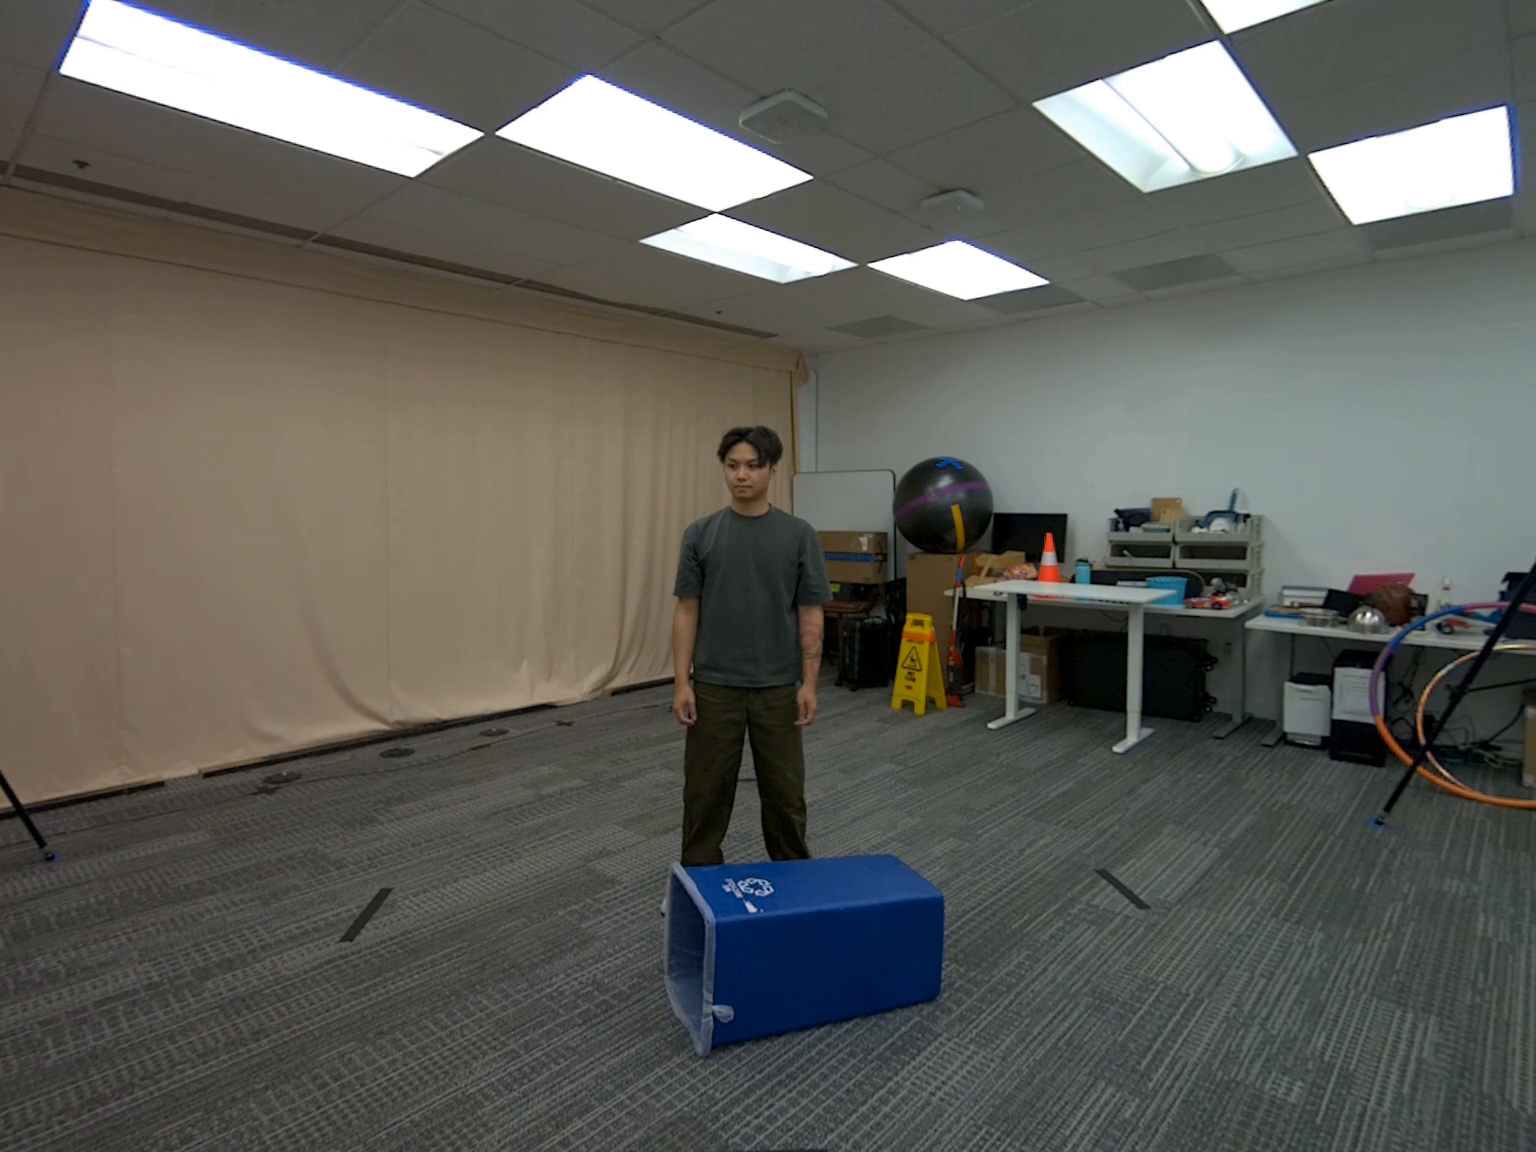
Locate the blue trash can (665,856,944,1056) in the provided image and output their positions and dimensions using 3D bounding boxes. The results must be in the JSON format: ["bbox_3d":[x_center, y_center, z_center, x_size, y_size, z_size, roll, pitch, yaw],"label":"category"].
[{"bbox_3d":[0.111,1.017,2.388,0.699,0.373,0.386,0,3,-20],"label":"blue trash can"}]
